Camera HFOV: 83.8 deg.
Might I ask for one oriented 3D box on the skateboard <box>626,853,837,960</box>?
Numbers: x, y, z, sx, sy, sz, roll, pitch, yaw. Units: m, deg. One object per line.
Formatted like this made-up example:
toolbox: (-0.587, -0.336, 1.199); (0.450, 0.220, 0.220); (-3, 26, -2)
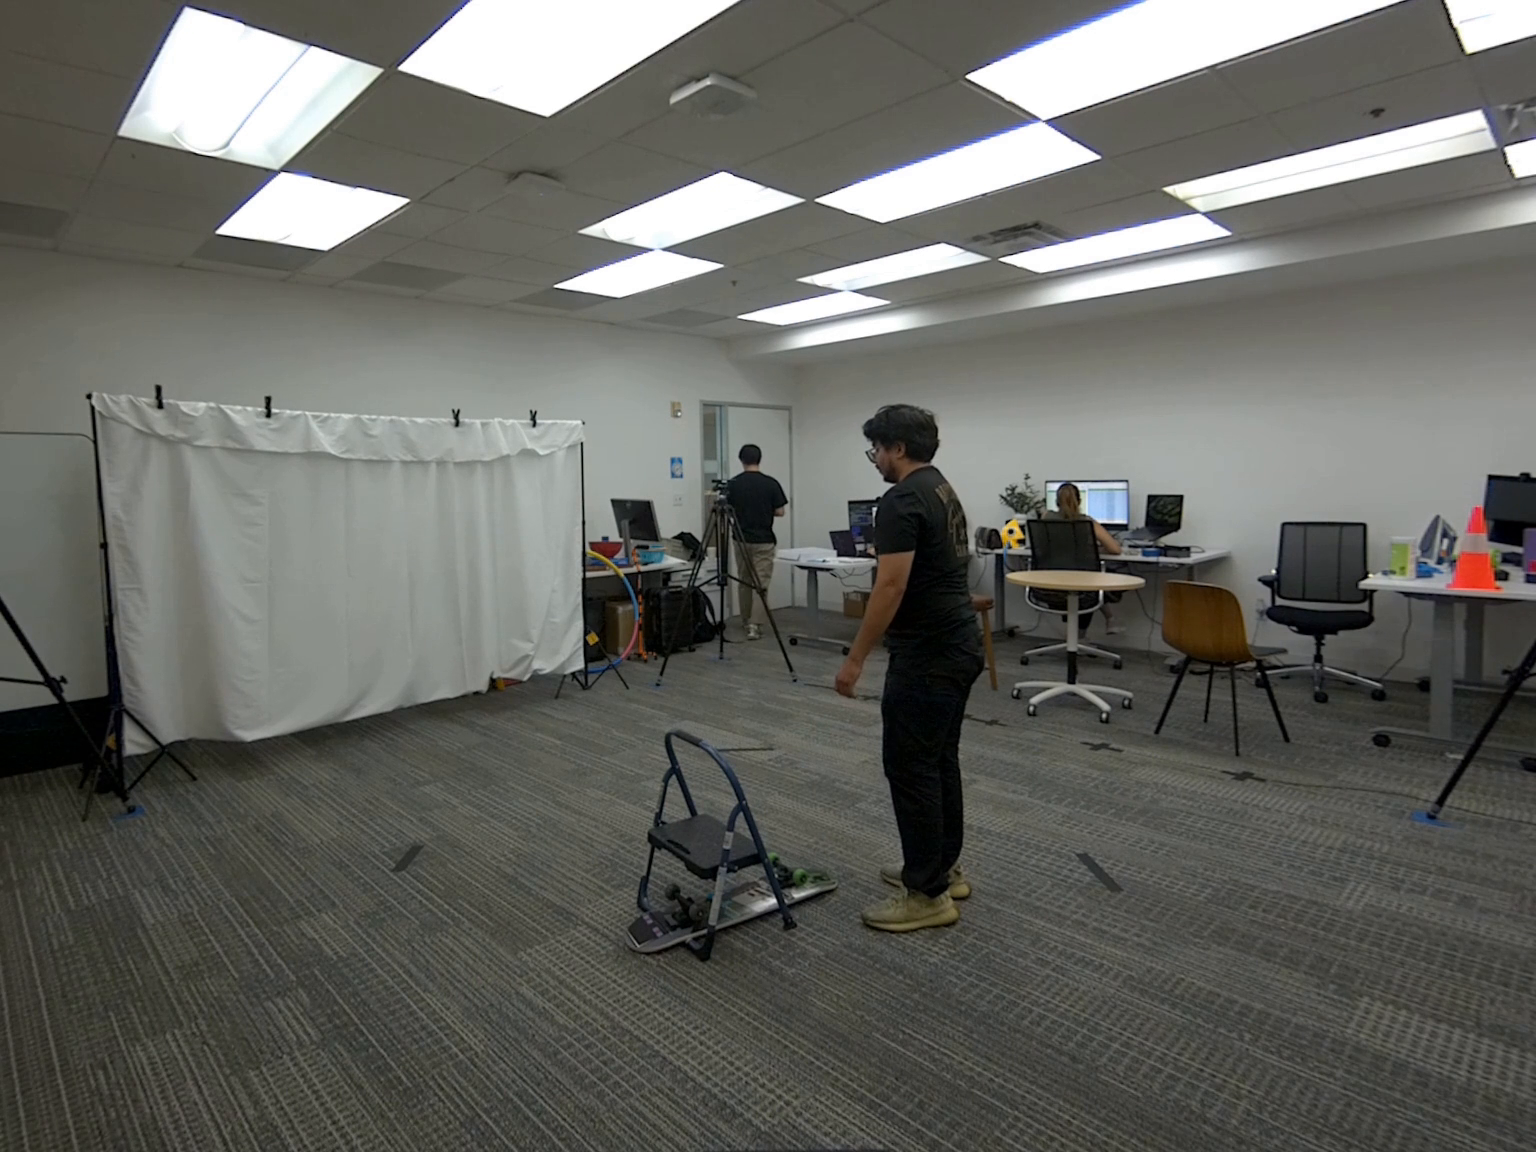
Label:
skateboard: (-0.086, 1.039, 2.762); (0.765, 0.110, 0.199); (-5, 7, -36)
